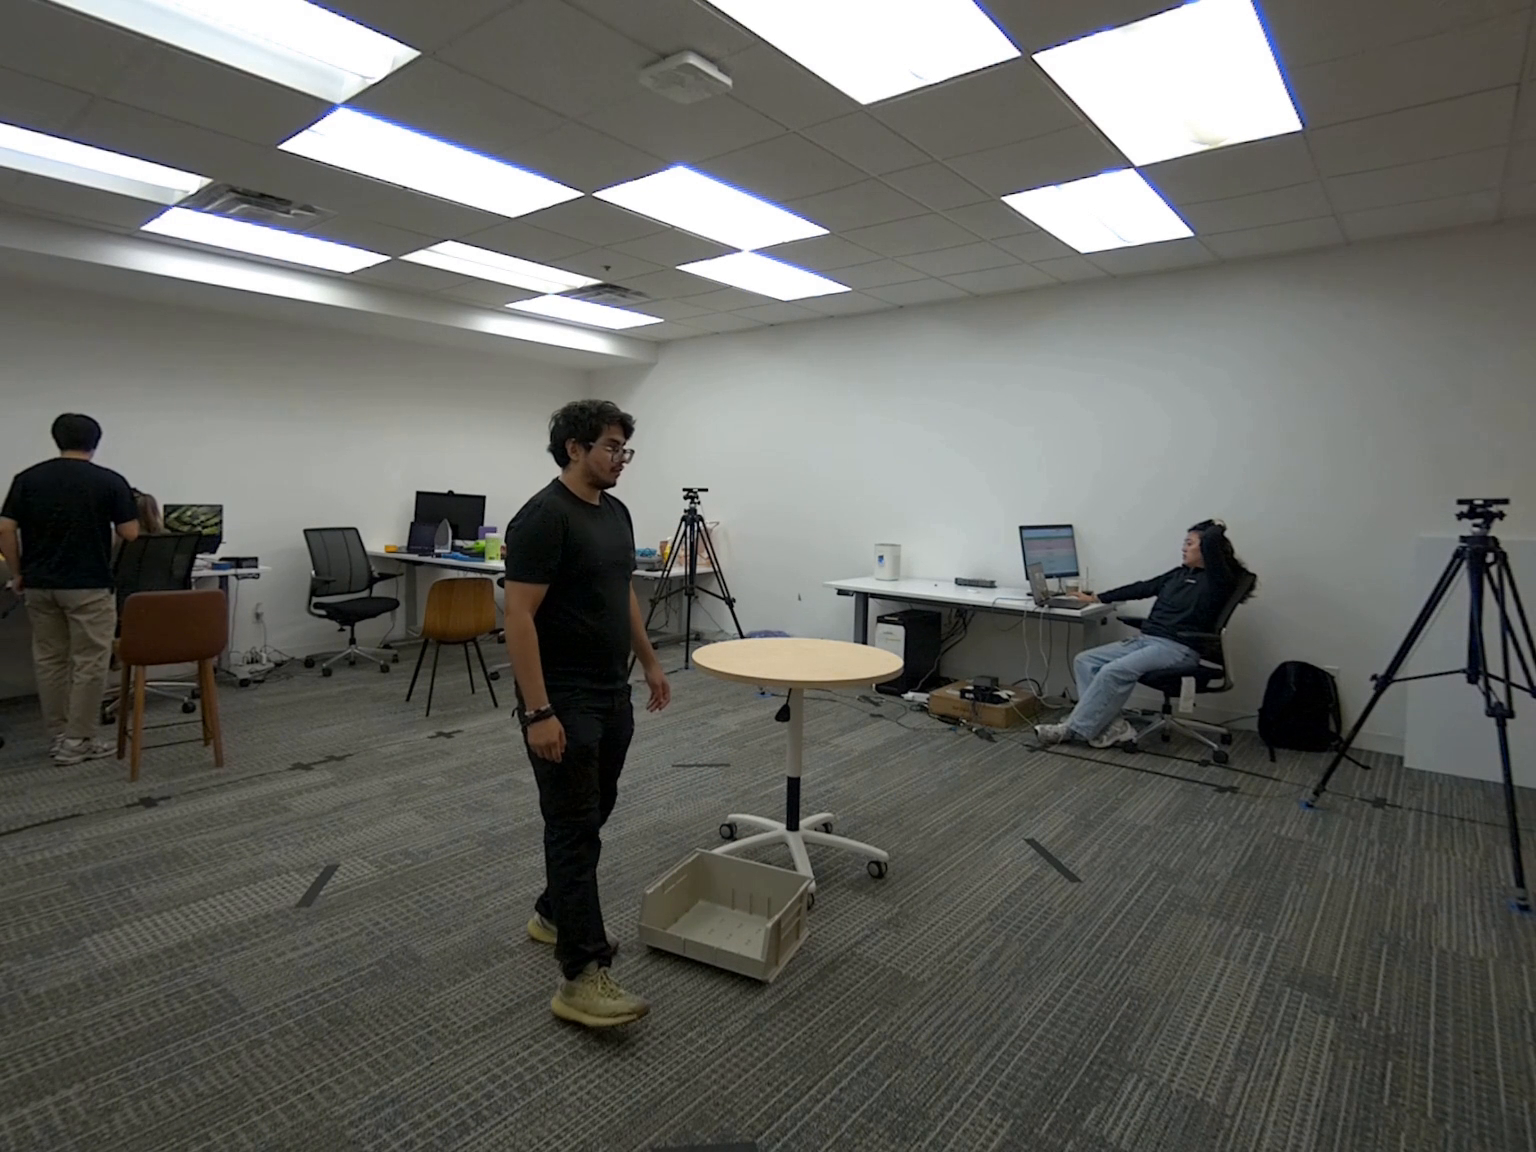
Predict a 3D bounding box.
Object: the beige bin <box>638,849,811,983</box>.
[{"bbox_3d":[-0.127,1.034,2.610,0.433,0.188,0.369,3,4,25],"label":"beige bin"}]
